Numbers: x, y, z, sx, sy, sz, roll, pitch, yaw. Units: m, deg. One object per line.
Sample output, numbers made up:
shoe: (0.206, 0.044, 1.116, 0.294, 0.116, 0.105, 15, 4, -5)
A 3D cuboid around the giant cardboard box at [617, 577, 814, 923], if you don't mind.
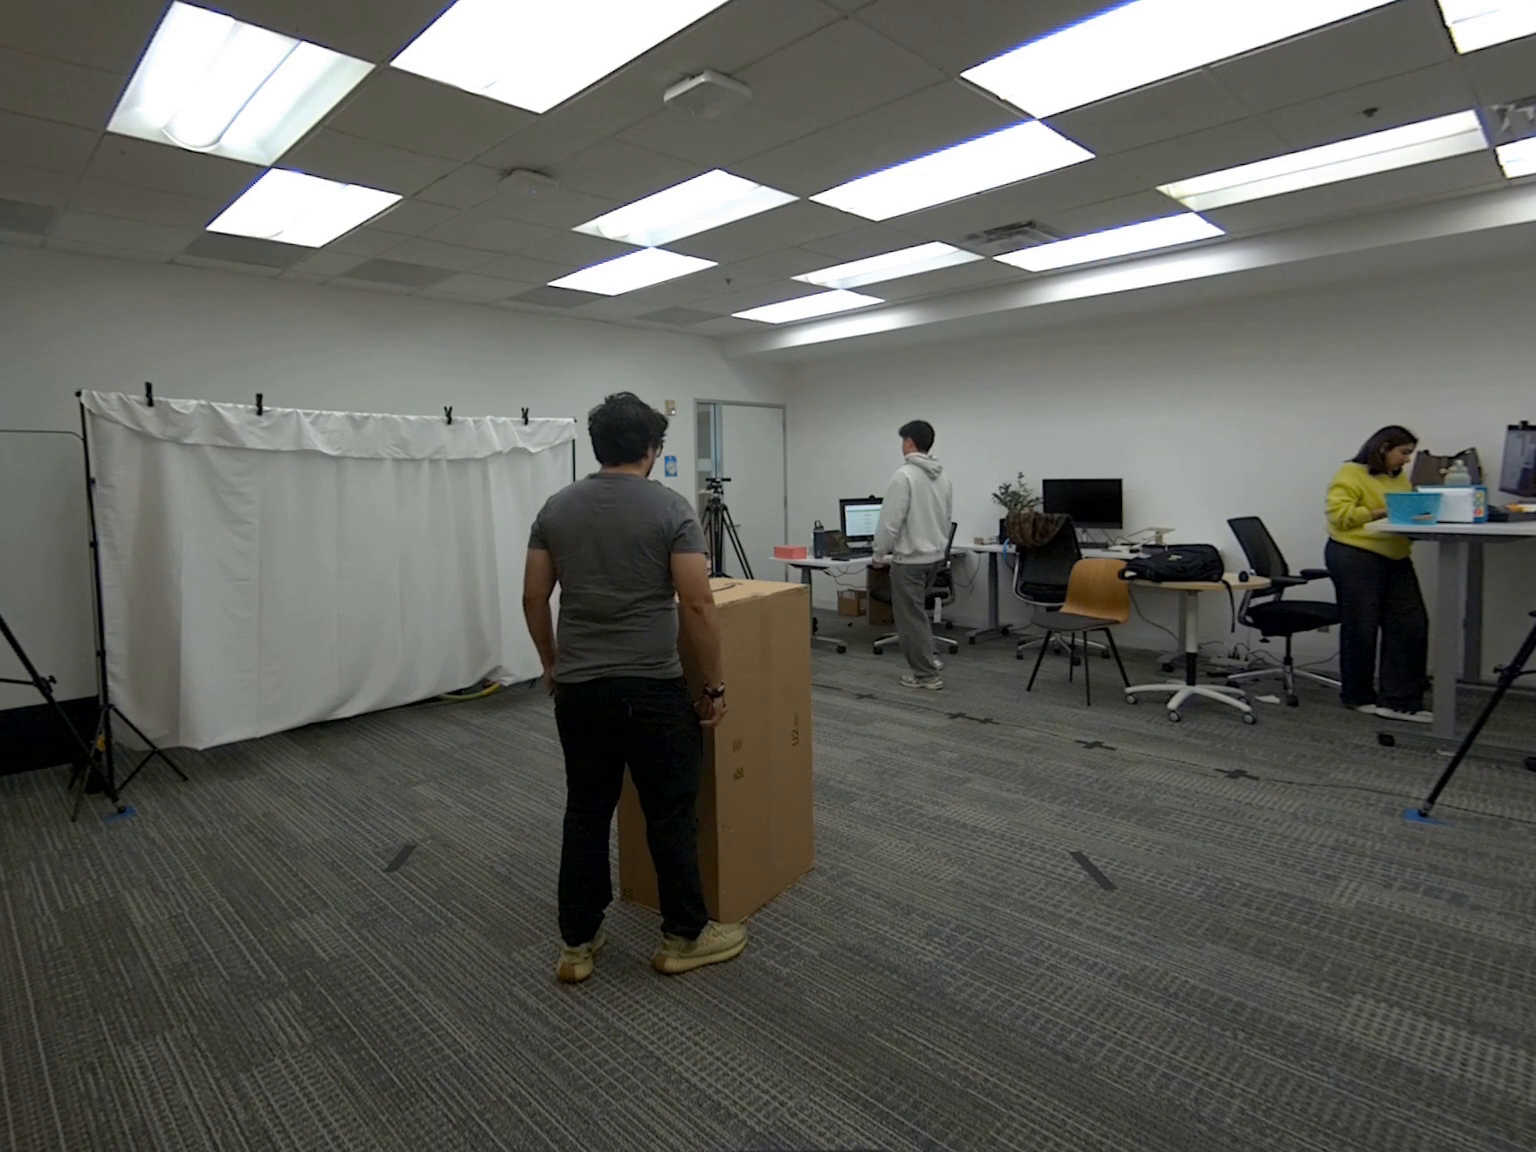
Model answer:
giant cardboard box: (-0.173, 0.561, 2.925, 0.459, 1.022, 0.570, 3, 6, 34)
